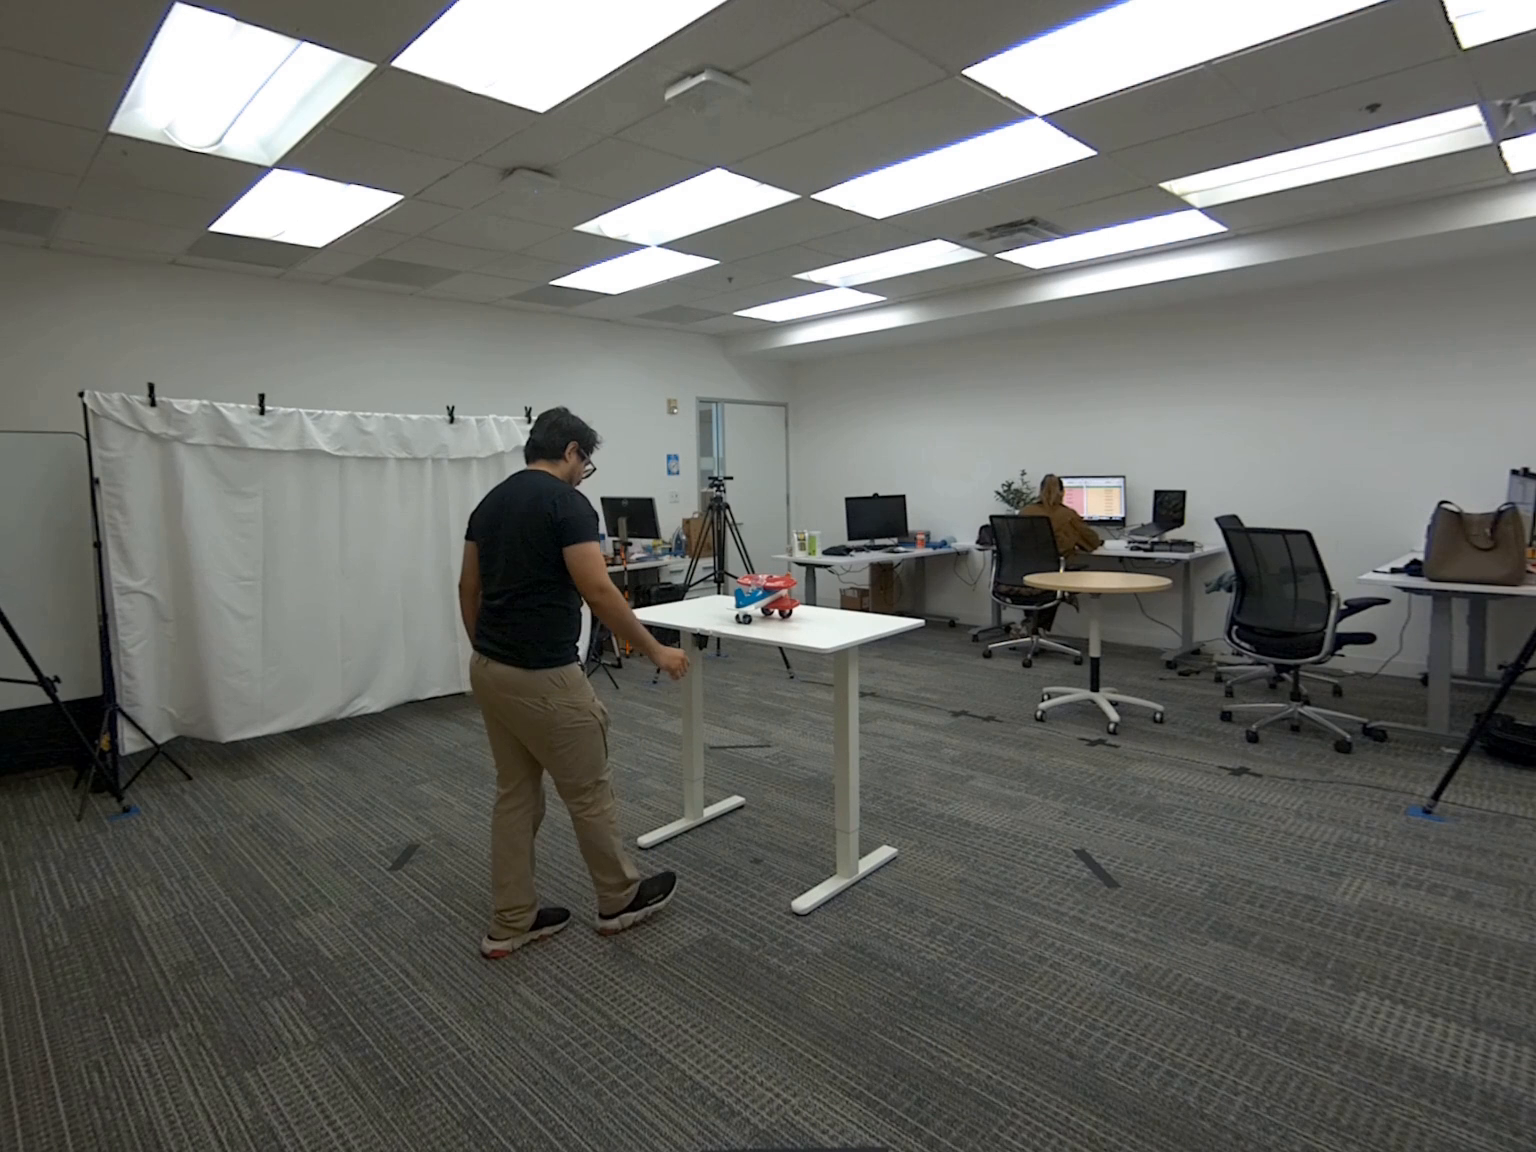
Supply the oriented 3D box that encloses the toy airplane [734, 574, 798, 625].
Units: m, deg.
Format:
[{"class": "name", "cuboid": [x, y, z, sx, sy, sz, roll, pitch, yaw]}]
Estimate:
[{"class": "toy airplane", "cuboid": [-0.009, 0.082, 3.047, 0.255, 0.156, 0.256, 1, 6, 15]}]
